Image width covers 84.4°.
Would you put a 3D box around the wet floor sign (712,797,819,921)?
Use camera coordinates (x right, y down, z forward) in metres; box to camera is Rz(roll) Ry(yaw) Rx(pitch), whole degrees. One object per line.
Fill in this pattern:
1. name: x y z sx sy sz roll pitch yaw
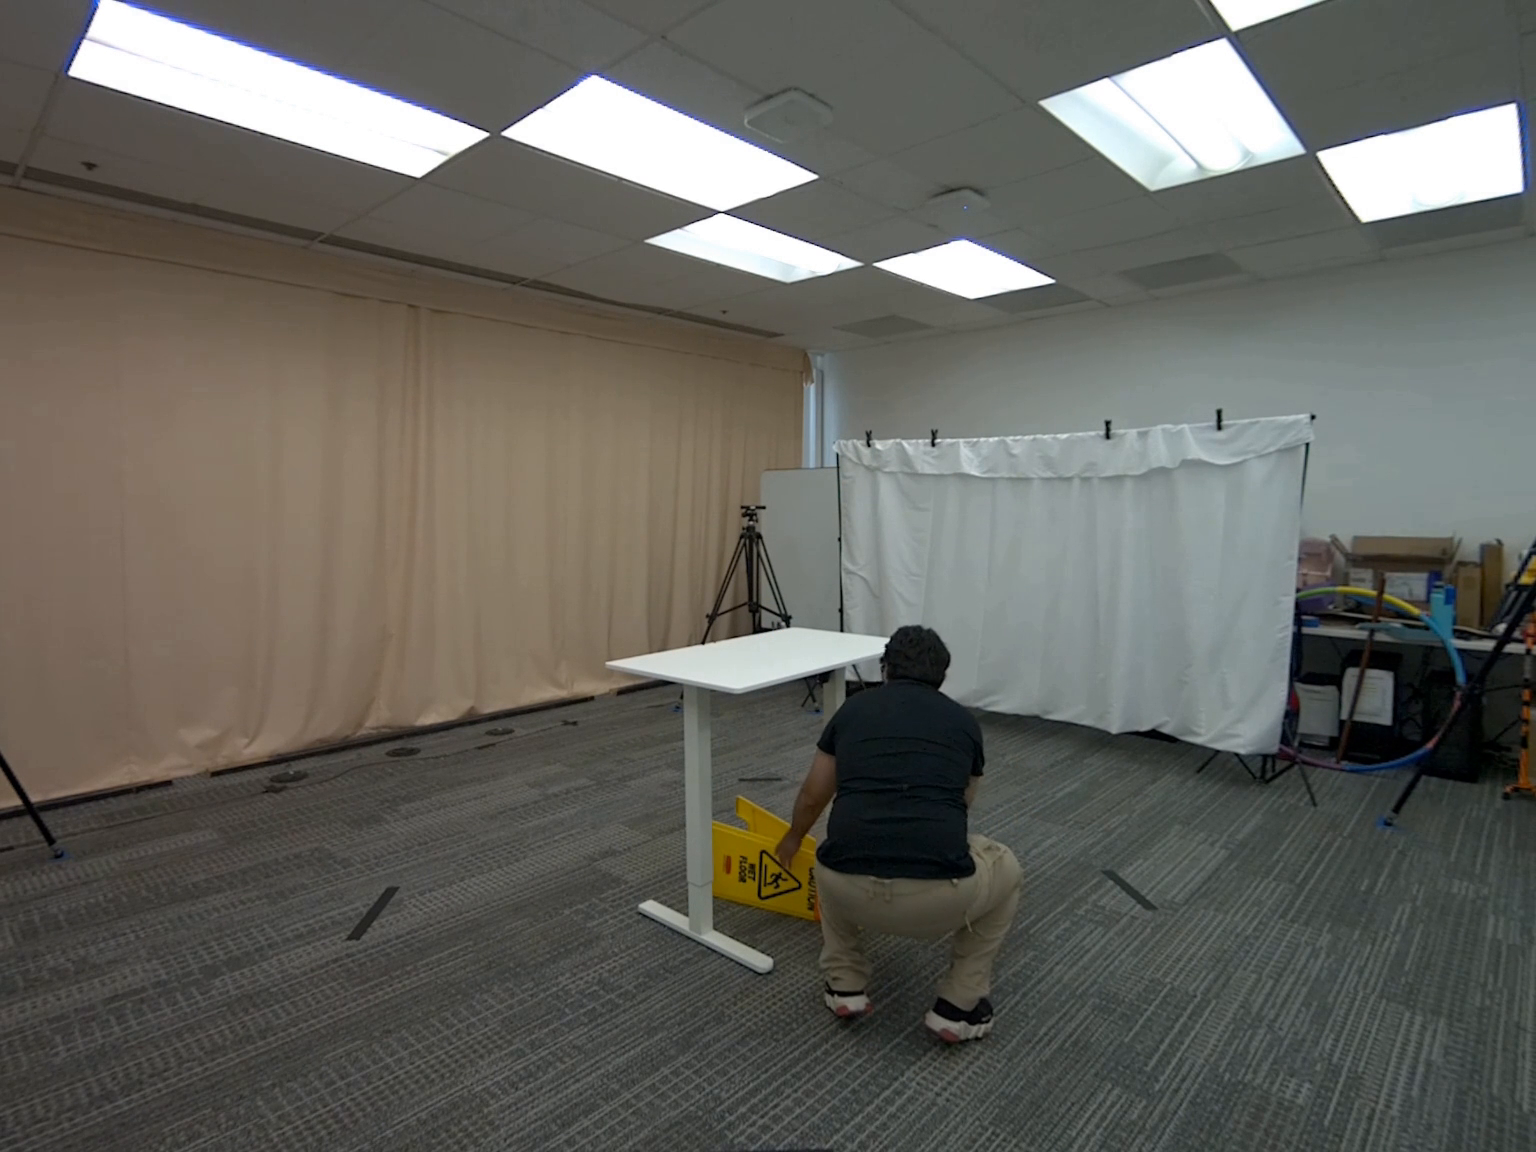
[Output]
1. wet floor sign: 0.061 1.023 2.944 0.668 0.281 0.281 7 8 38
